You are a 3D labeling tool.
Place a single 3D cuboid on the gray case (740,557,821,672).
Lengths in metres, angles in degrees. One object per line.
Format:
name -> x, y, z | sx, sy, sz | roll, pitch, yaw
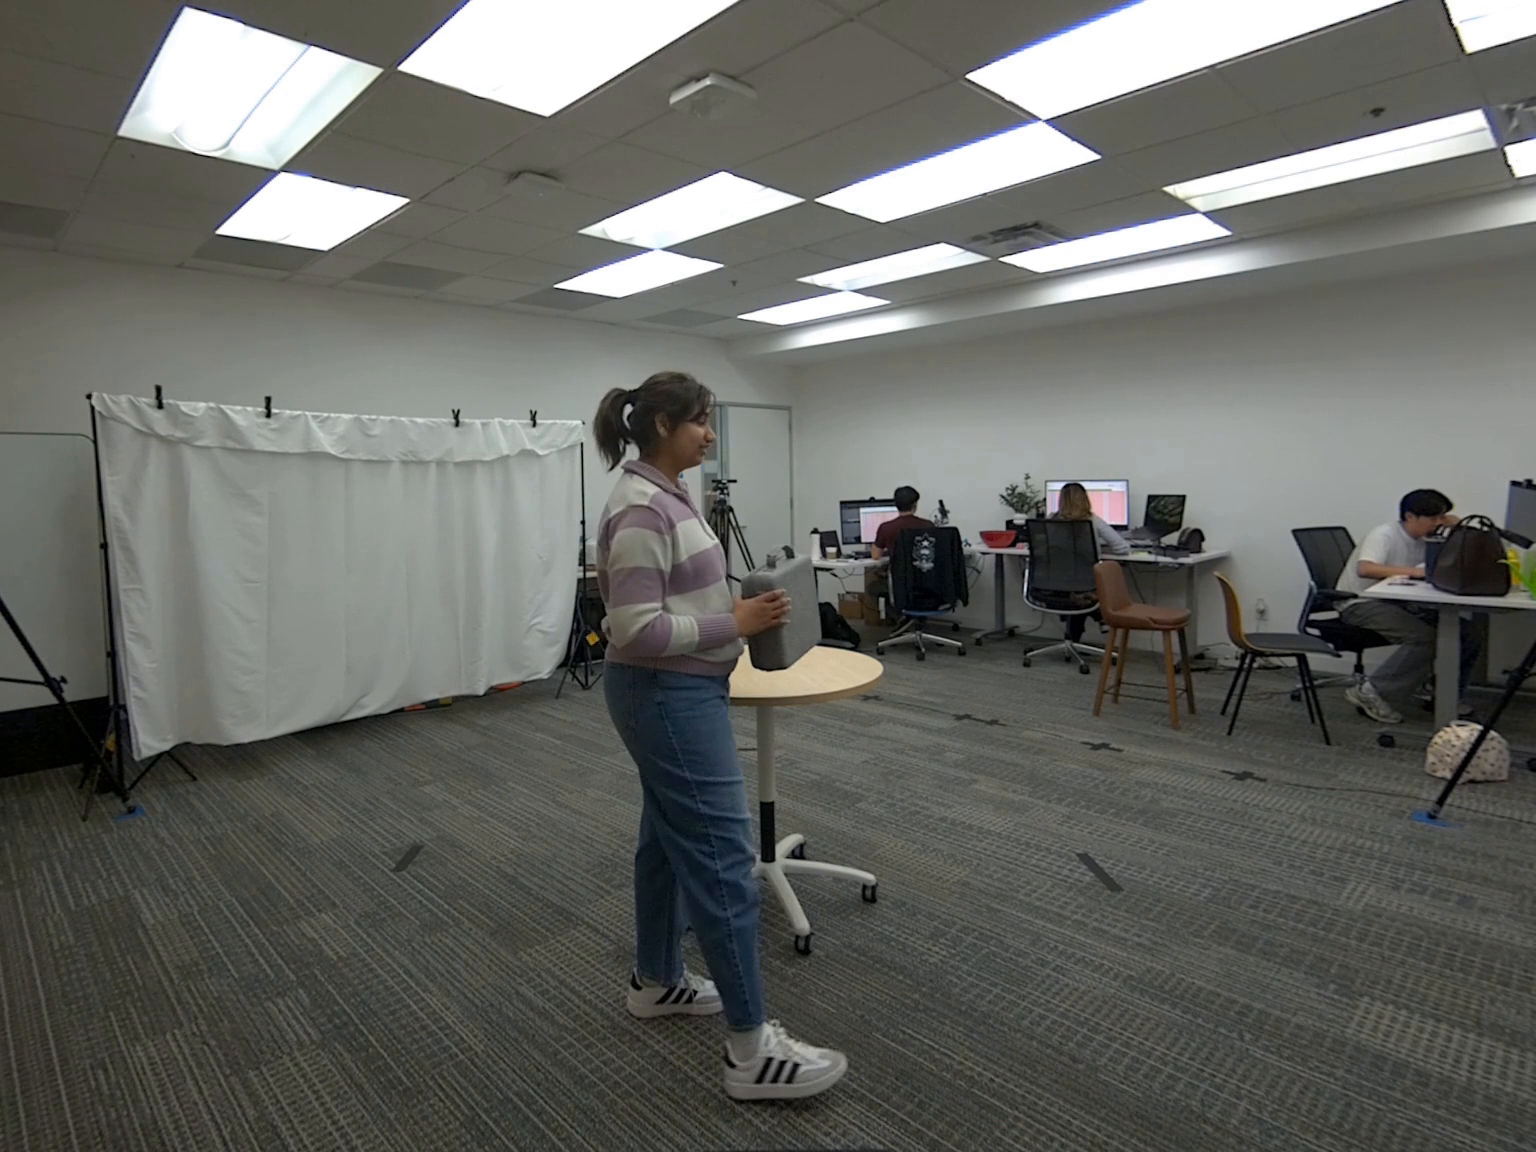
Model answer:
gray case -> 0.040, 0.080, 2.201 | 0.107, 0.257, 0.254 | 0, 14, 28
